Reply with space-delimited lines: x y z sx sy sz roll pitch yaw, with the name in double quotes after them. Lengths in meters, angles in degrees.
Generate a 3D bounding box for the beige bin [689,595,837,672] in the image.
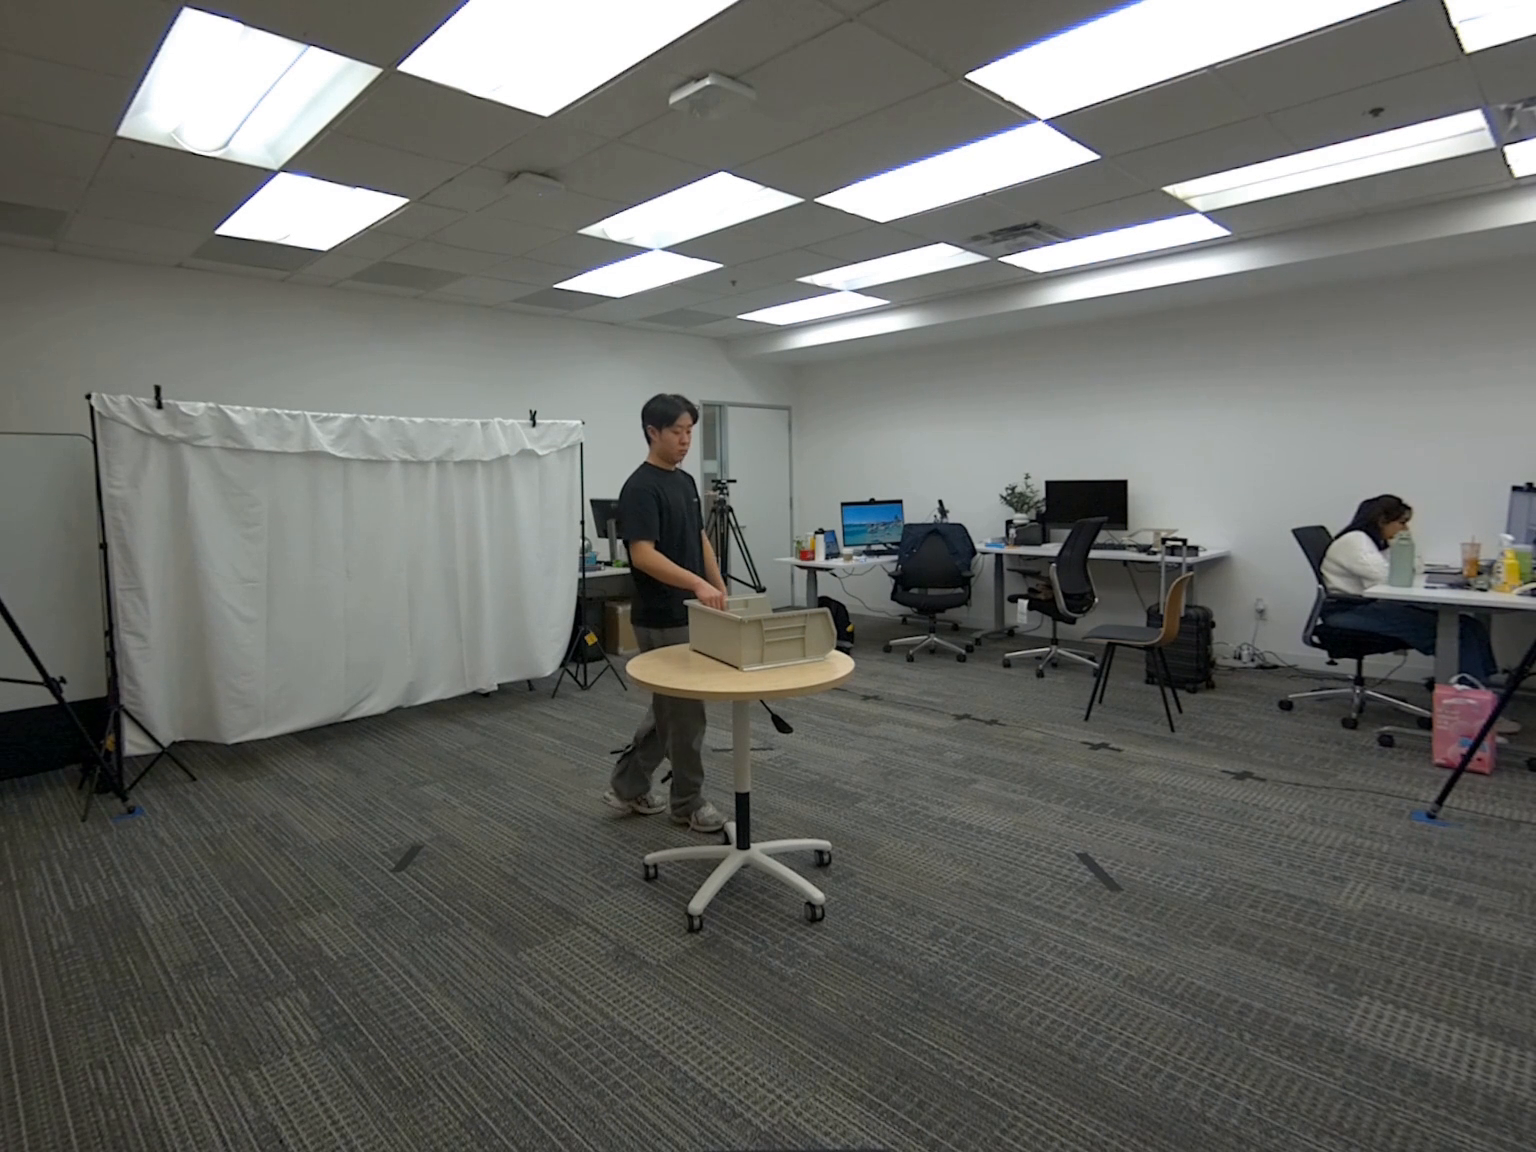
-0.030 0.186 2.994 0.369 0.188 0.434 -7 9 -29 "beige bin"
